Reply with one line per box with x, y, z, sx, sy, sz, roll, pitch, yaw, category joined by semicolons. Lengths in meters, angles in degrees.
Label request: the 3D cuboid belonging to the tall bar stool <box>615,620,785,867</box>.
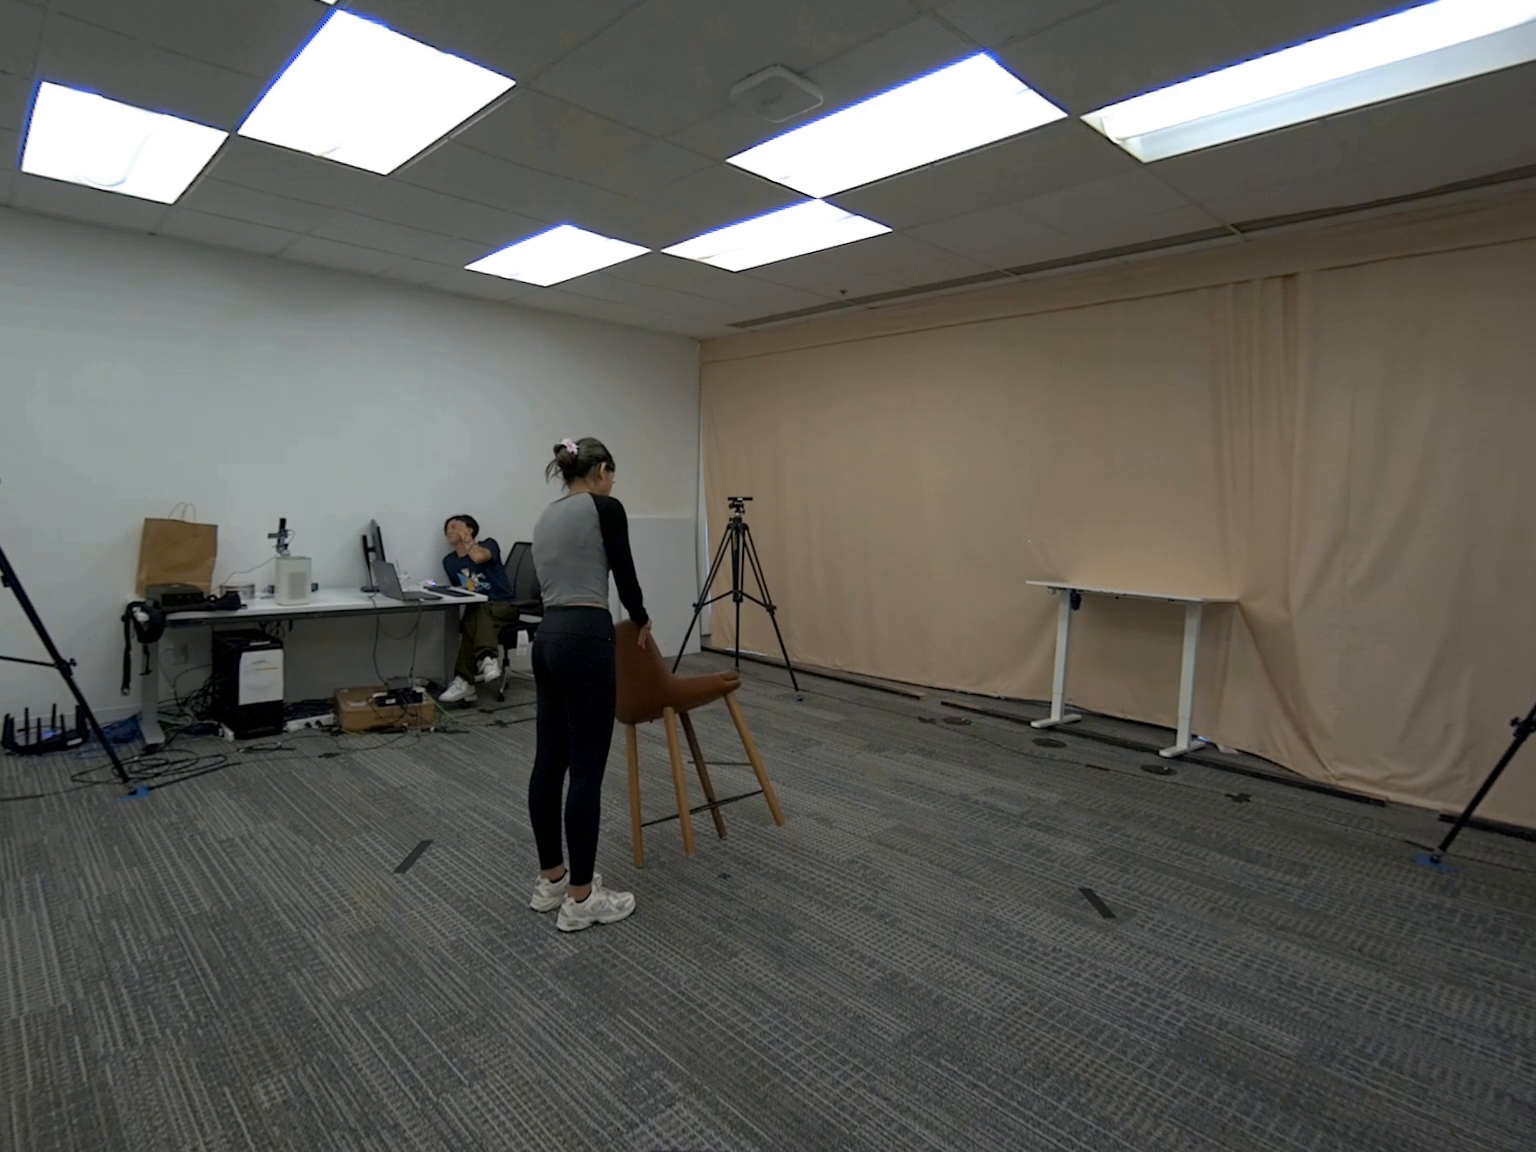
-0.352;0.612;3.289;0.458;0.901;0.460;-6;-17;-41;tall bar stool
